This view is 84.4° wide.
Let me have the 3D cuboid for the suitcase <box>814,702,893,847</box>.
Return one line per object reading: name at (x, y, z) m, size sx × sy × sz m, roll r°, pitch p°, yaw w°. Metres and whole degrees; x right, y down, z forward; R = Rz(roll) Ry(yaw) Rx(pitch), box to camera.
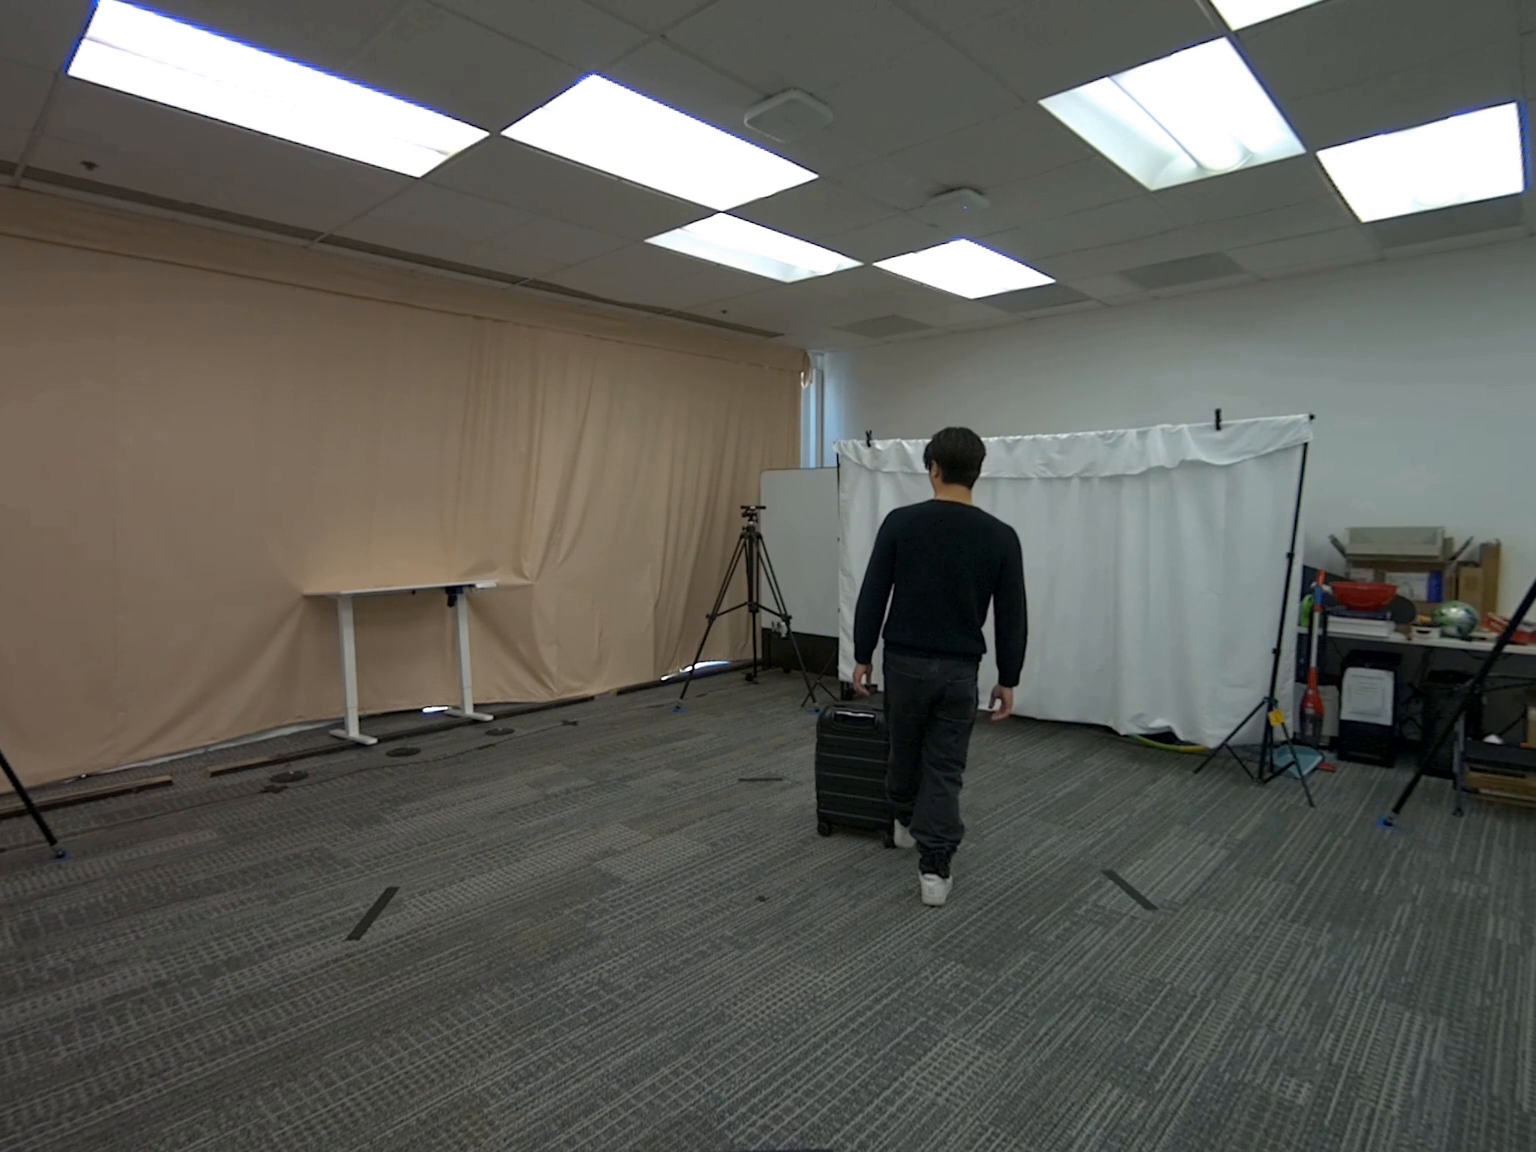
suitcase at (0.396, 0.816, 3.601) m, size 0.385 × 0.549 × 0.242 m, roll 0°, pitch 1°, yaw 26°
